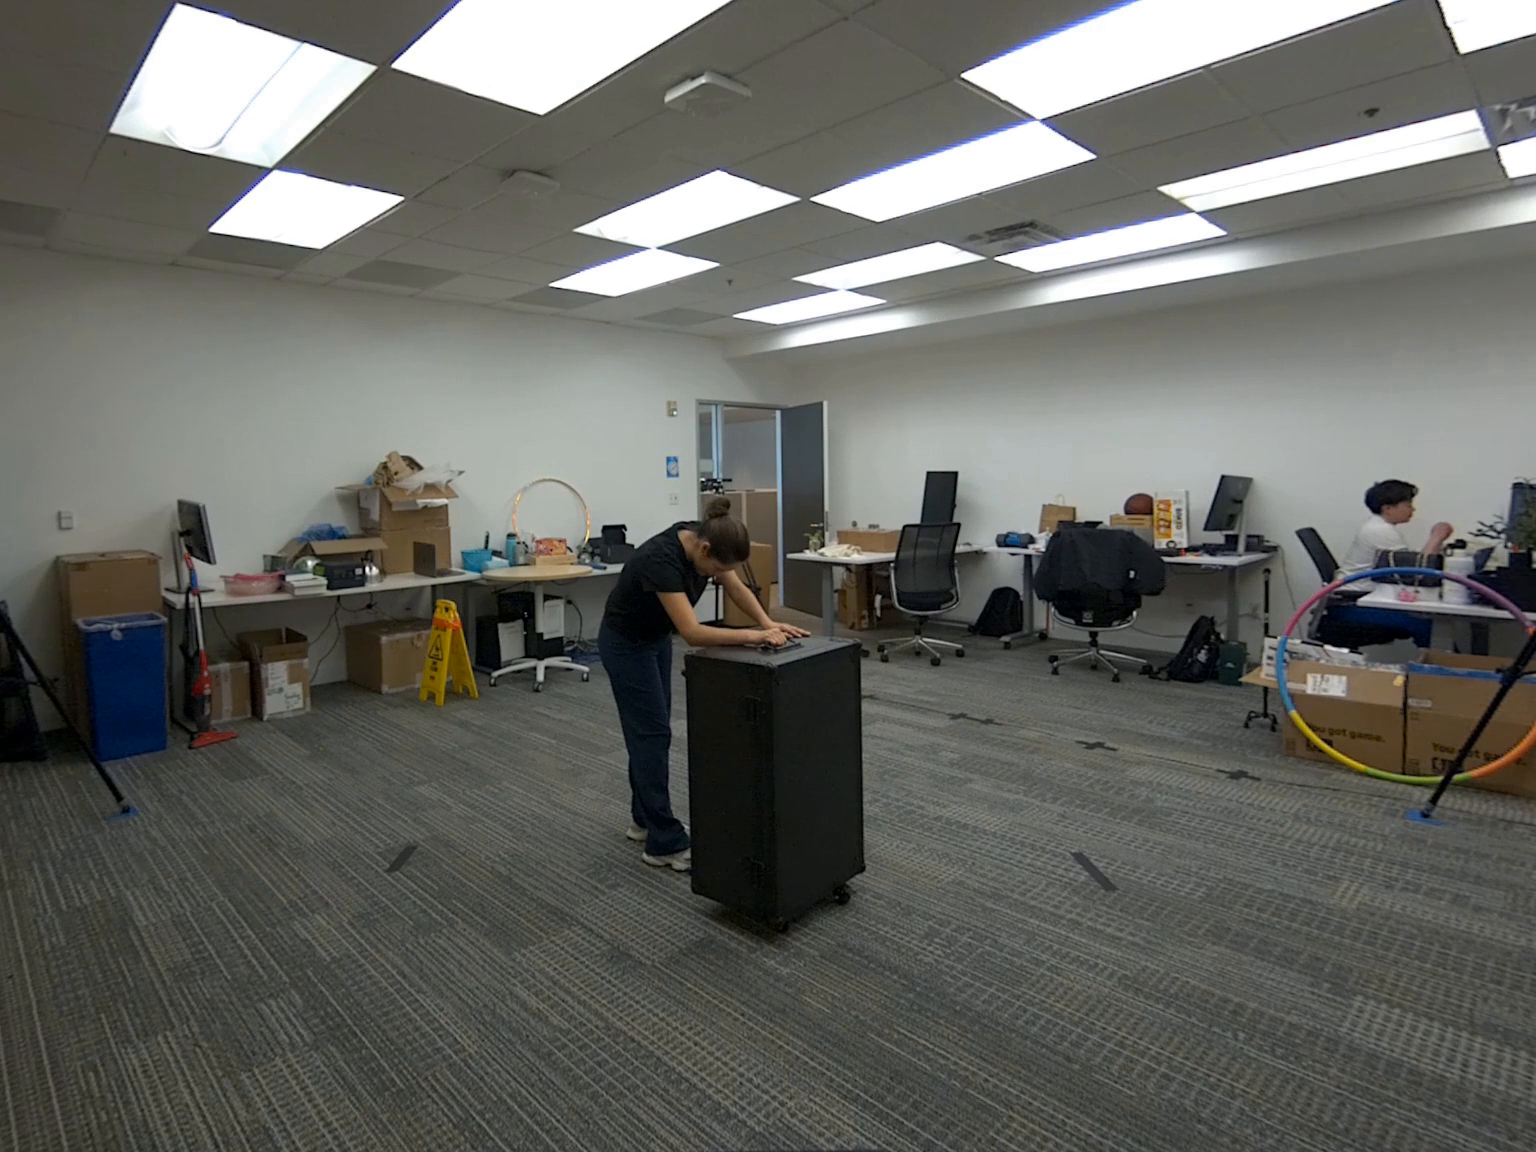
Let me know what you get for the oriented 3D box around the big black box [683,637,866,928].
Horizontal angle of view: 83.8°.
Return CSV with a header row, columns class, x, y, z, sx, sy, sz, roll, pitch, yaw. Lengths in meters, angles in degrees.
class,x,y,z,sx,sy,sz,roll,pitch,yaw
big black box,0.041,0.657,2.801,0.408,0.859,0.507,2,4,40
